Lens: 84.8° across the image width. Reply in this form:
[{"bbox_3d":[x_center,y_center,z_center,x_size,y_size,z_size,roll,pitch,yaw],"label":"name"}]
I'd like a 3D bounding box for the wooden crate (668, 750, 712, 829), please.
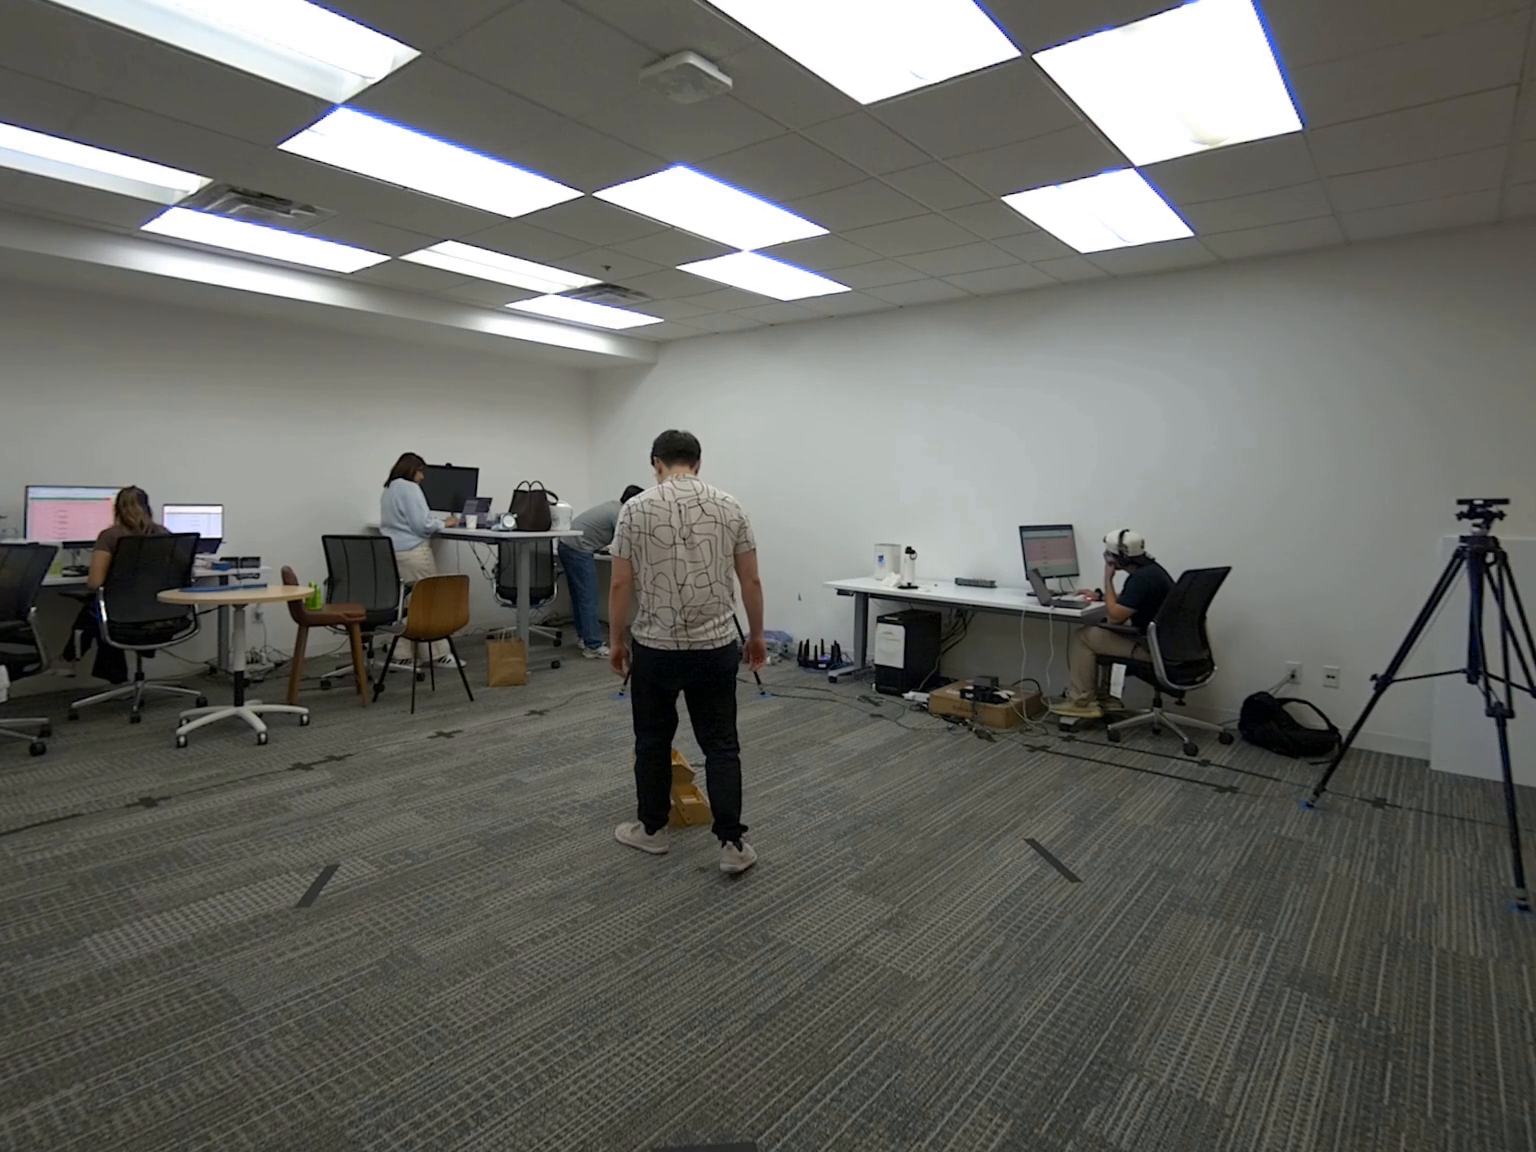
[{"bbox_3d":[-0.407,0.877,3.650,0.297,0.272,0.331,-2,5,-18],"label":"wooden crate"}]
